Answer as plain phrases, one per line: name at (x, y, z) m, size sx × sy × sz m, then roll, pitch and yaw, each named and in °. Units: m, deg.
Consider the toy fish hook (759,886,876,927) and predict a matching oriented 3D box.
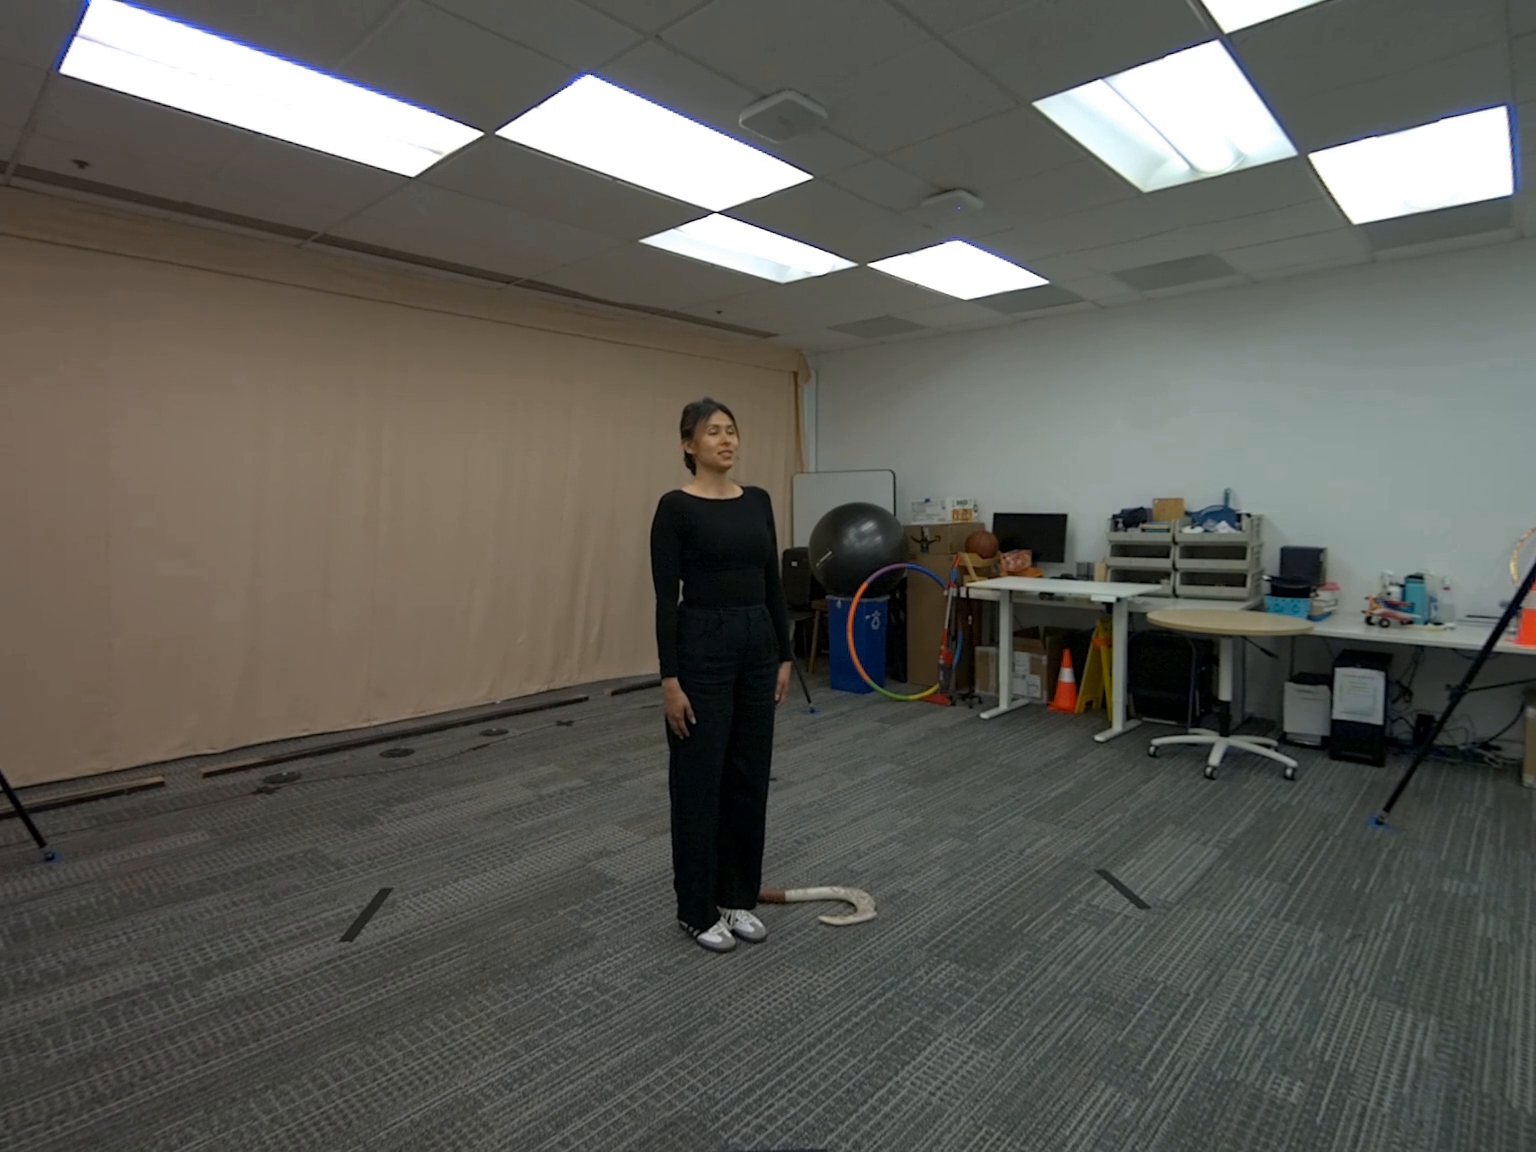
toy fish hook at (0.117, 1.127, 2.903) m, size 0.509 × 0.048 × 0.224 m, roll 0°, pitch 4°, yaw 4°
